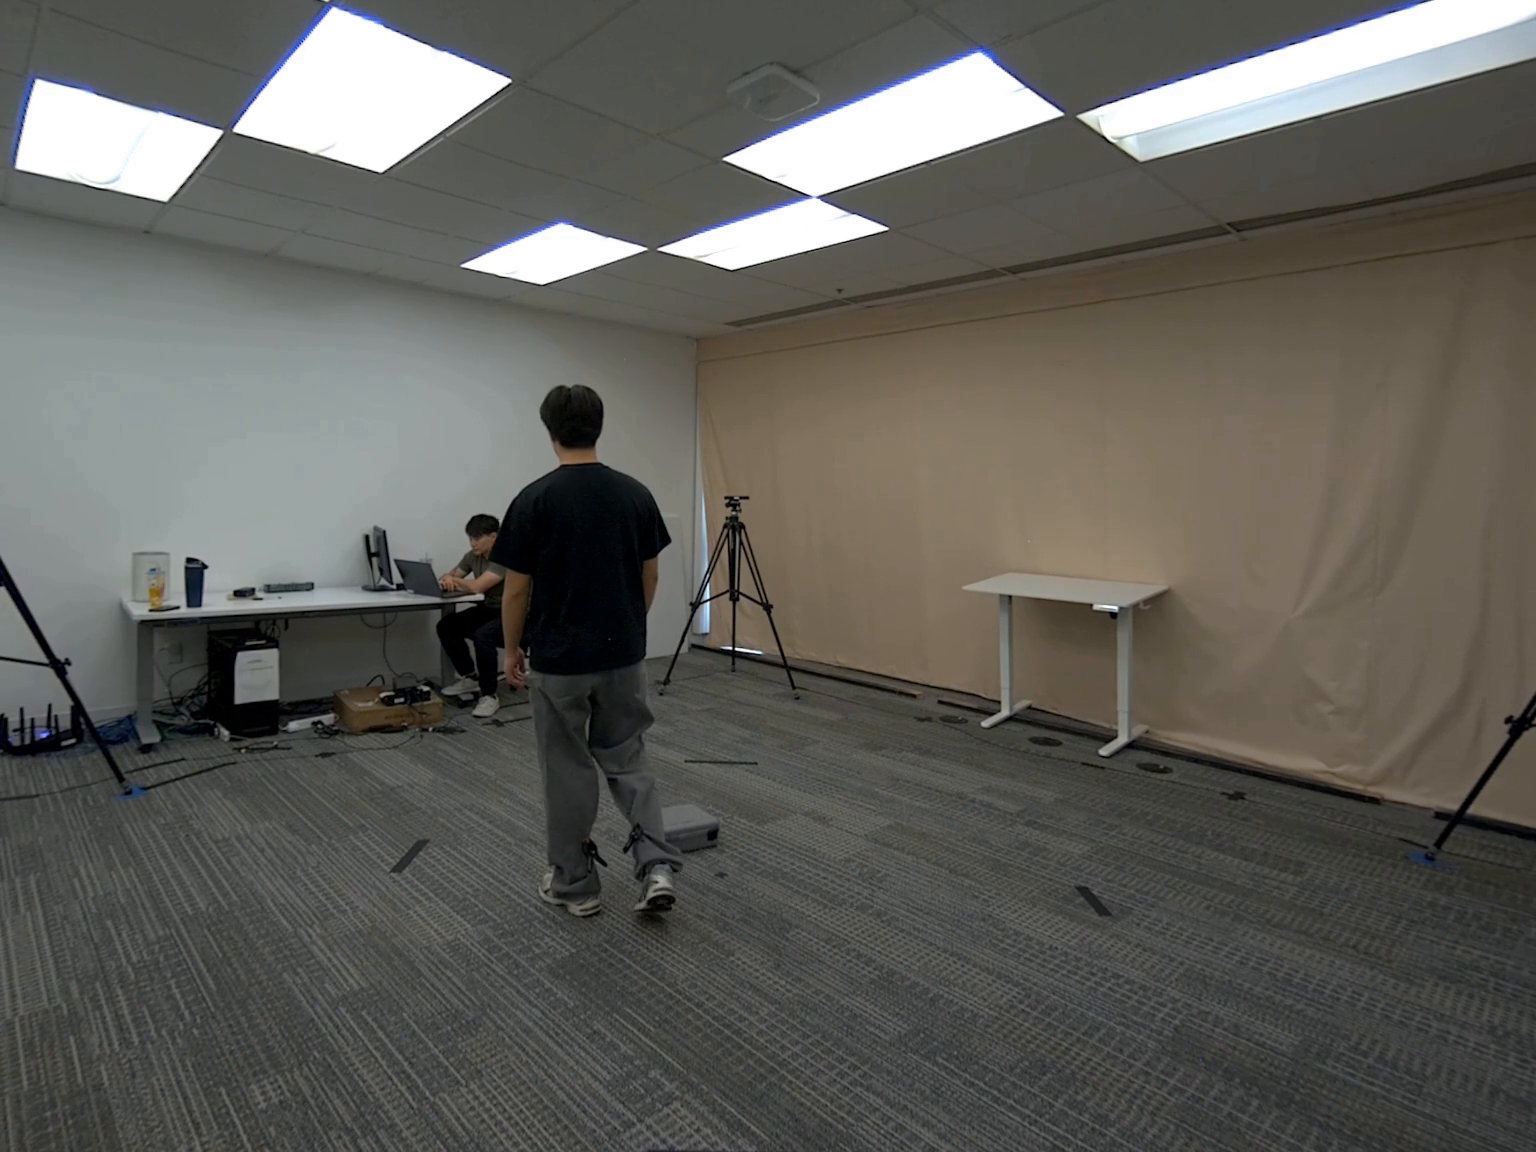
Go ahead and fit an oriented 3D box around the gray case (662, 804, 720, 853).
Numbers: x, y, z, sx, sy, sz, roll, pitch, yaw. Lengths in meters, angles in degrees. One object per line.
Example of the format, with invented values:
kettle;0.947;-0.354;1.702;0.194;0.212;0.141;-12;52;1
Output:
gray case;-0.372;1.017;3.411;0.258;0.103;0.294;-1;5;-31
